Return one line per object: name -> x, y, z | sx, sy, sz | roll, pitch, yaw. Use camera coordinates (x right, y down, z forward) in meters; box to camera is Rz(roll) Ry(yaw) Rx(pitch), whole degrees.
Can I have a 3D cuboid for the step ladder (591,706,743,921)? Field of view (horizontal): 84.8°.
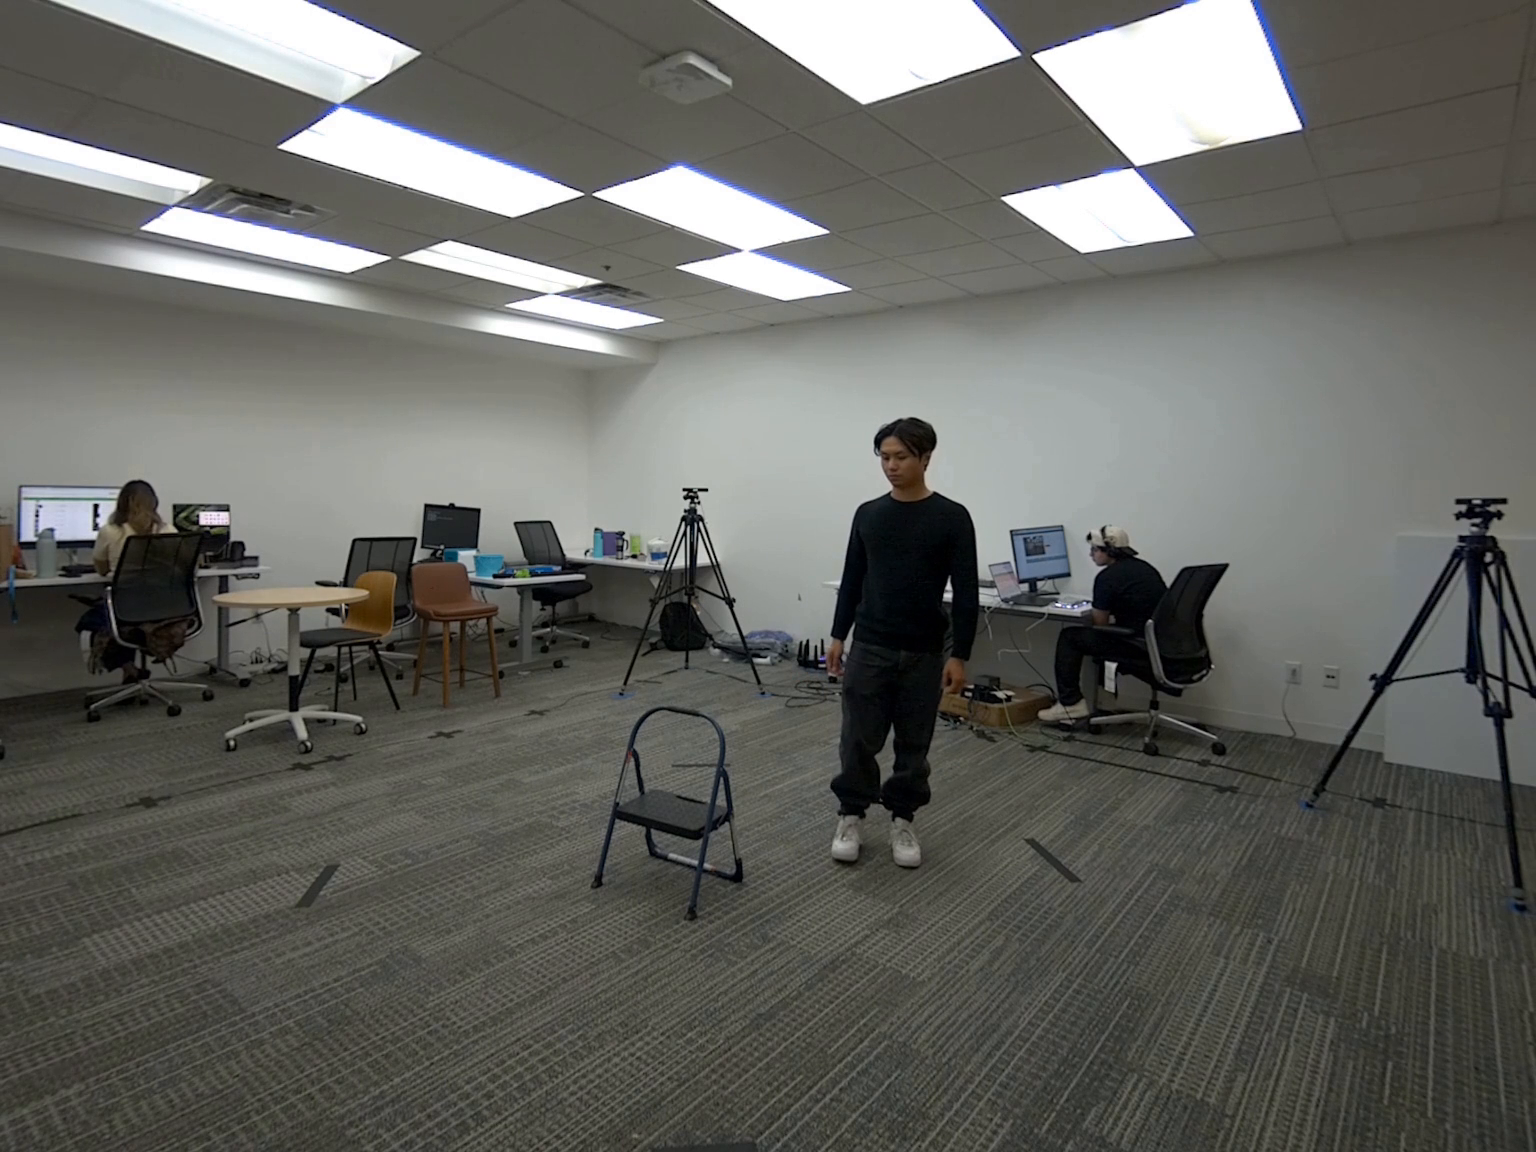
step ladder -> -0.352, 0.780, 2.970 | 0.443, 0.604, 0.340 | 3, 4, 29
